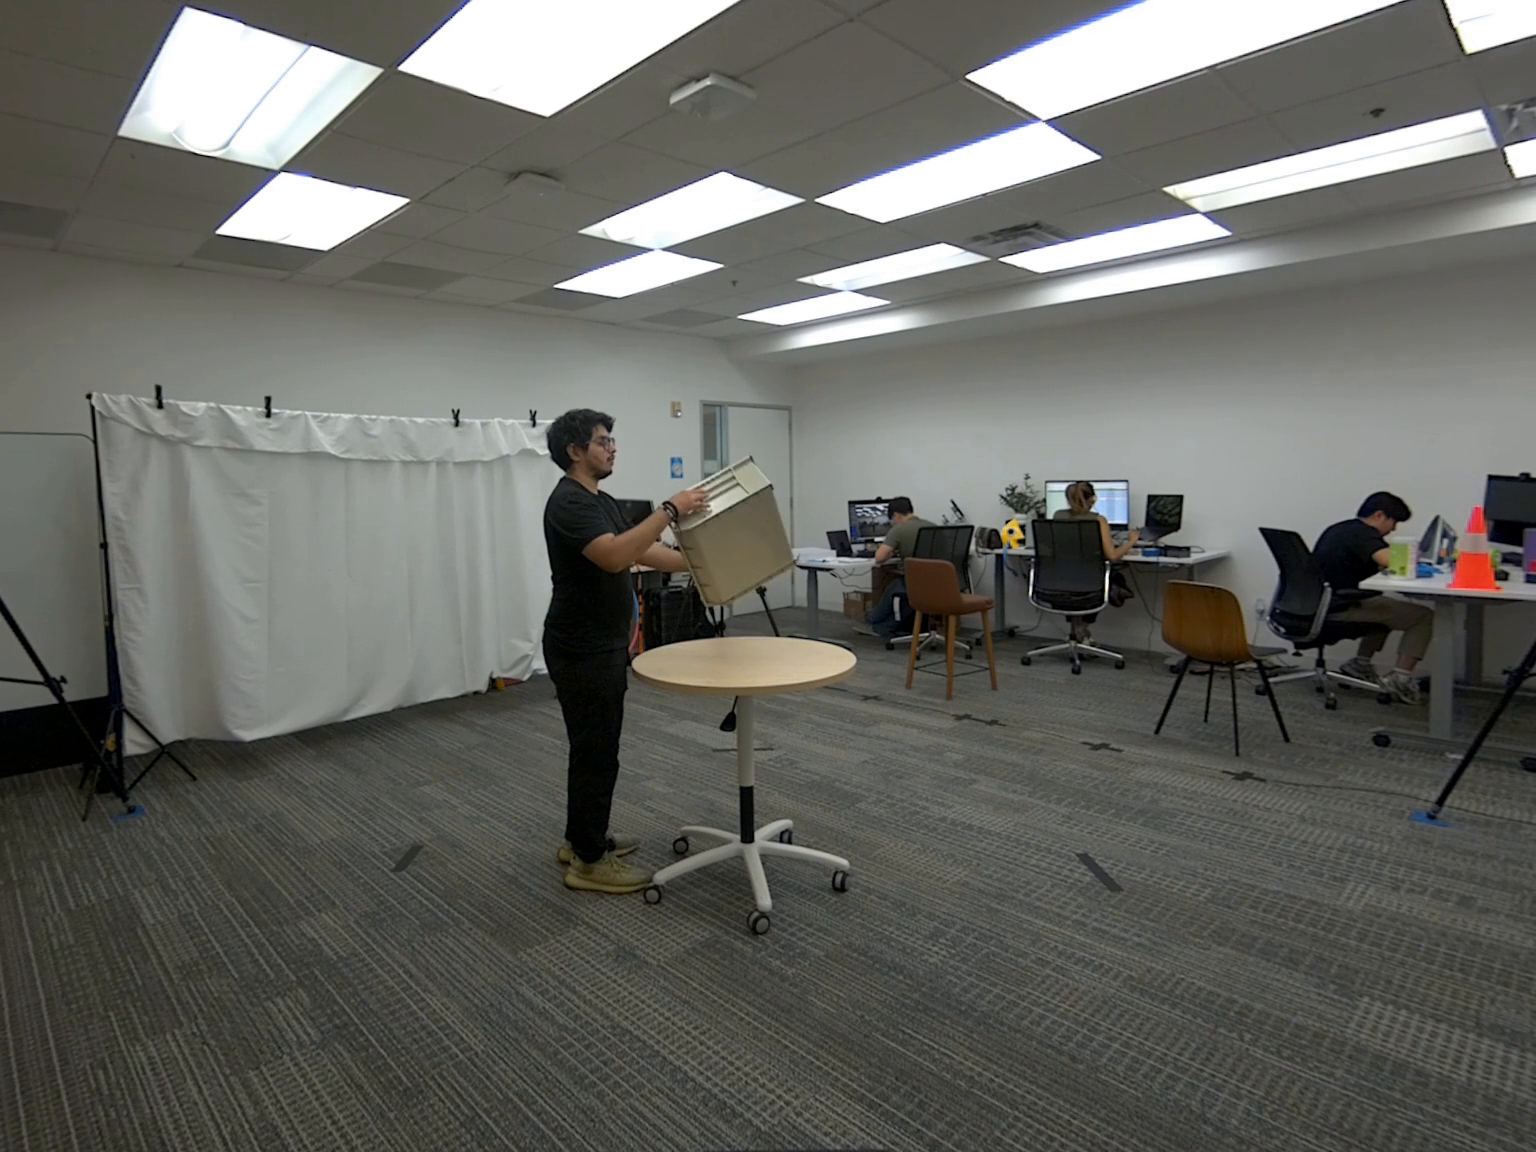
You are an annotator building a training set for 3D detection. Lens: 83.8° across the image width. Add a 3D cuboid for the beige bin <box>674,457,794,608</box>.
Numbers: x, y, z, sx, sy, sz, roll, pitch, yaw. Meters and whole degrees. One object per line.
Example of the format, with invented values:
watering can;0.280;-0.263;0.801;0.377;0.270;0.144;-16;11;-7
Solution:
beige bin;-0.136;-0.141;2.997;0.376;0.407;0.196;-28;45;-9
